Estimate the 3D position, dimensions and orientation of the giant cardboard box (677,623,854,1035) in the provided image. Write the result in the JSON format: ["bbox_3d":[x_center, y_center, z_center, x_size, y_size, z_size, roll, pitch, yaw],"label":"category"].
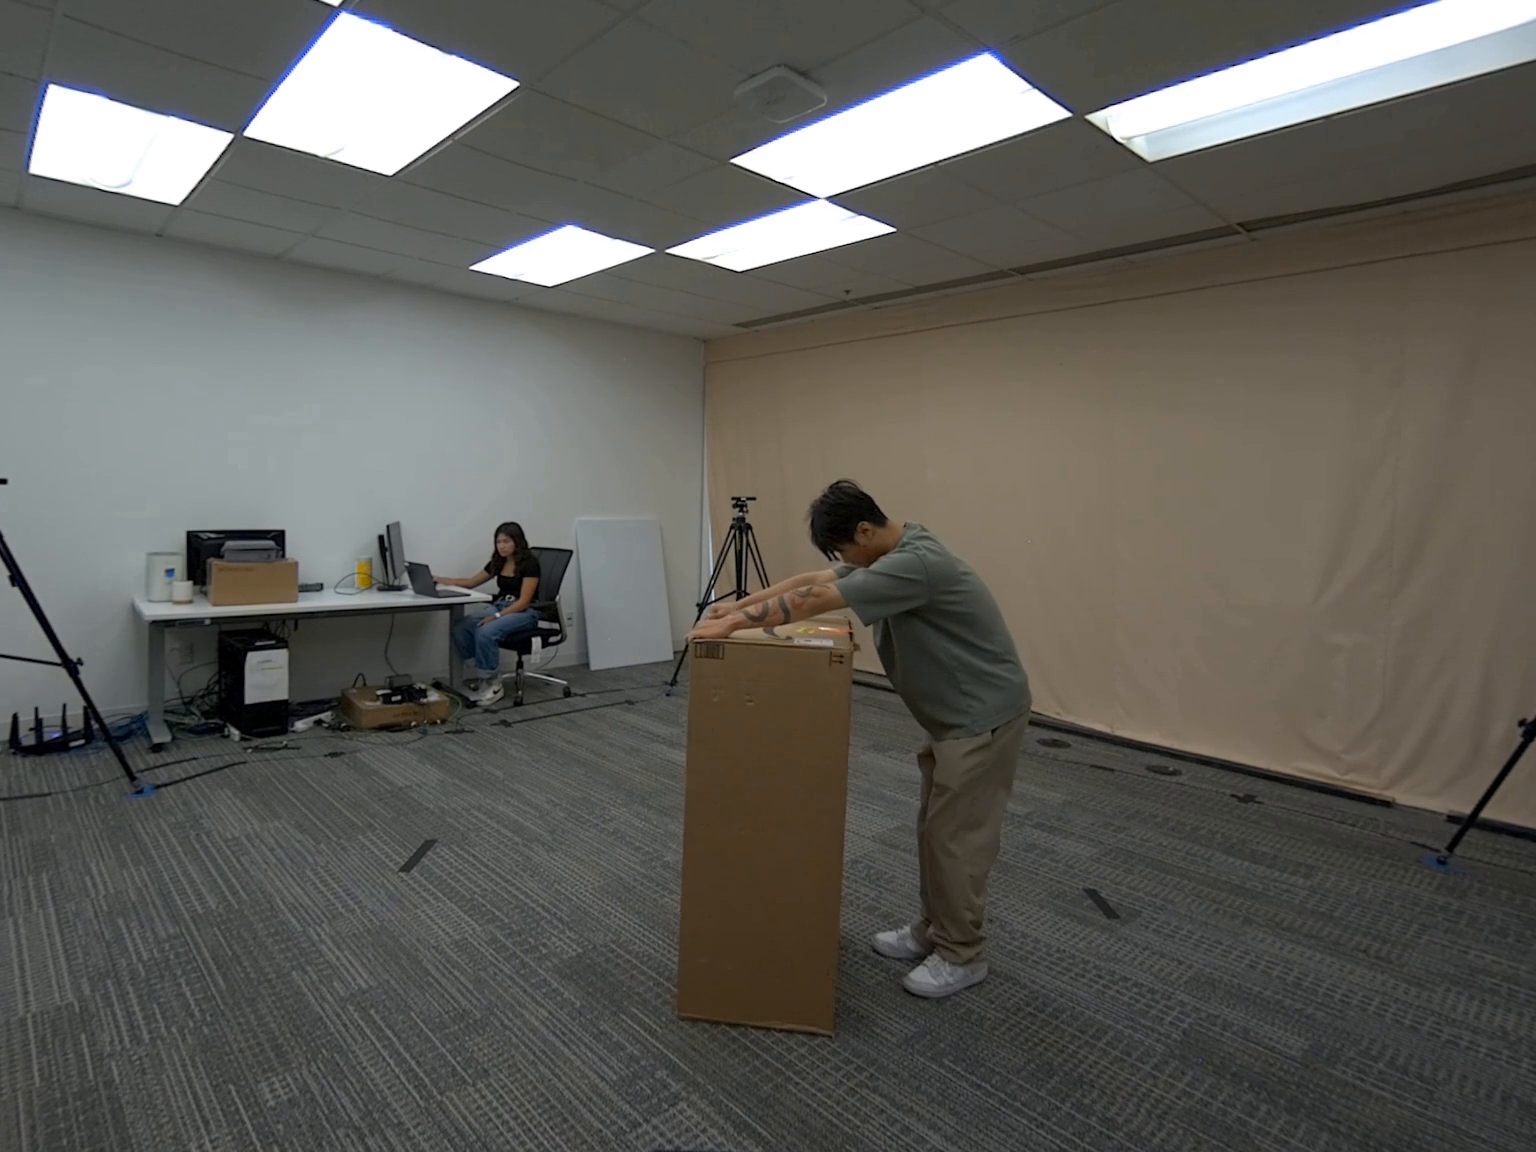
[{"bbox_3d":[0.006,0.660,2.464,0.428,1.023,0.576,2,3,5],"label":"giant cardboard box"}]
